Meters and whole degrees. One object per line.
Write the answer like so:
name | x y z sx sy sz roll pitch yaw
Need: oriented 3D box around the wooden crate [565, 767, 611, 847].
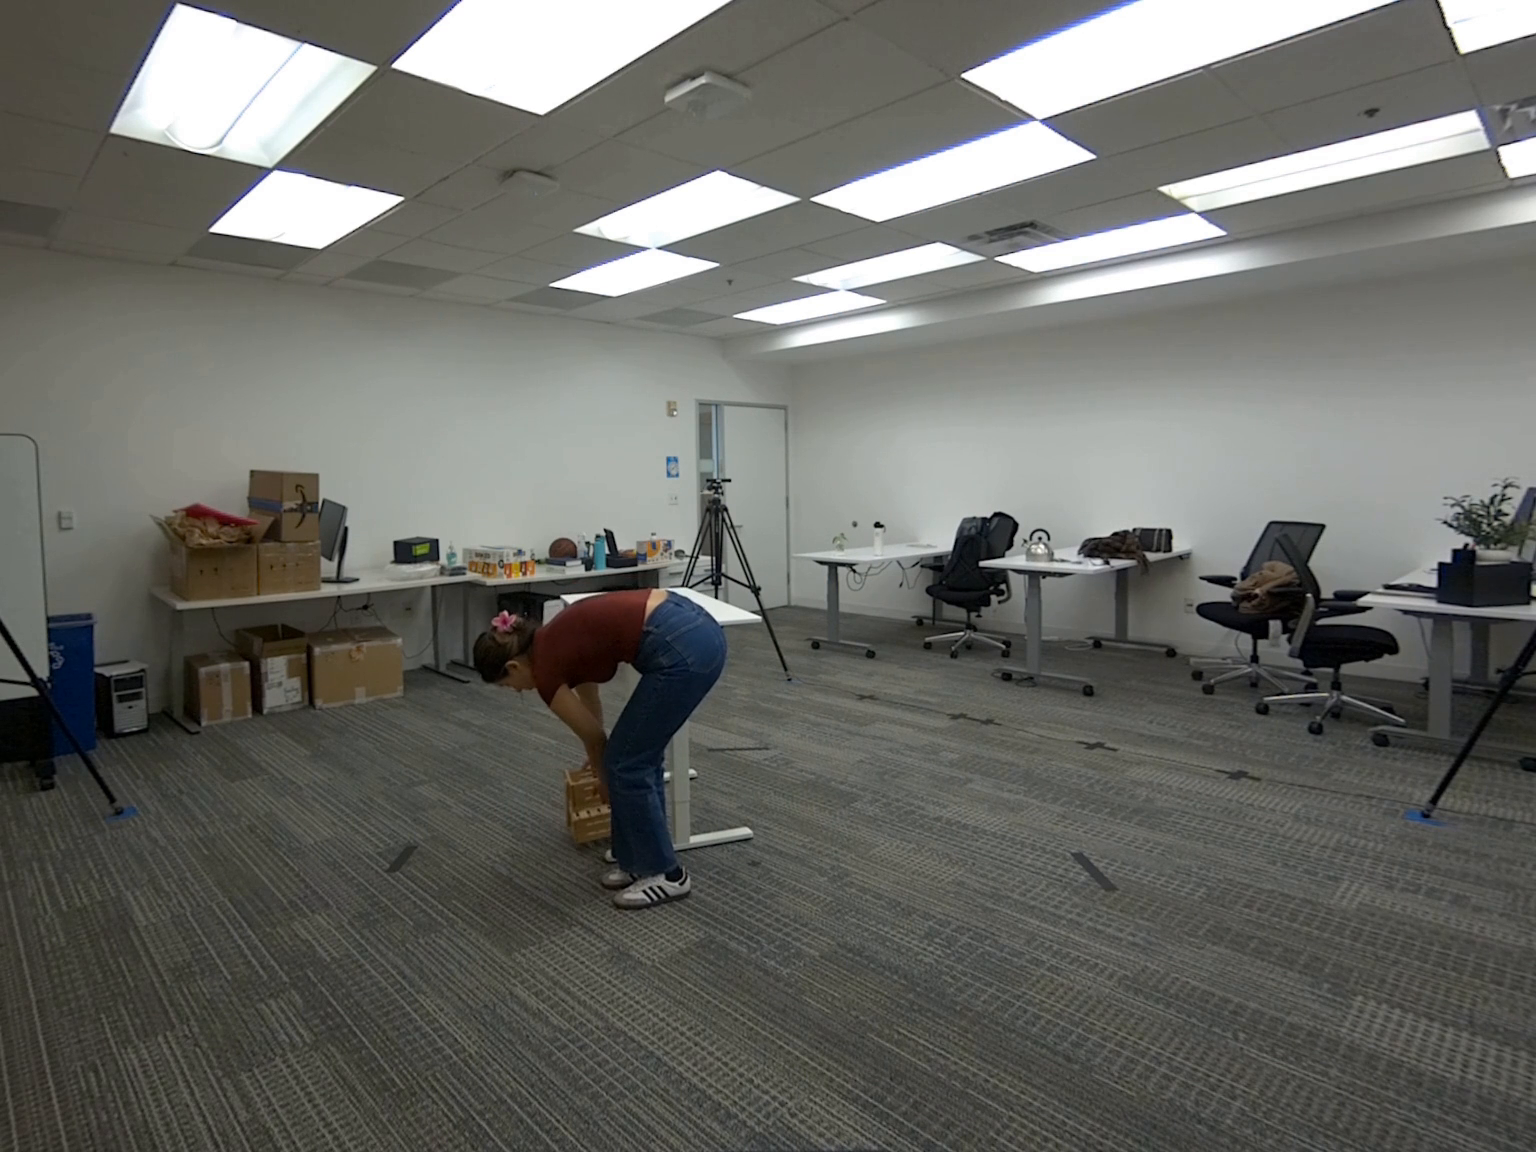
wooden crate | -0.633 0.844 3.327 0.319 0.270 0.310 -8 13 -20
